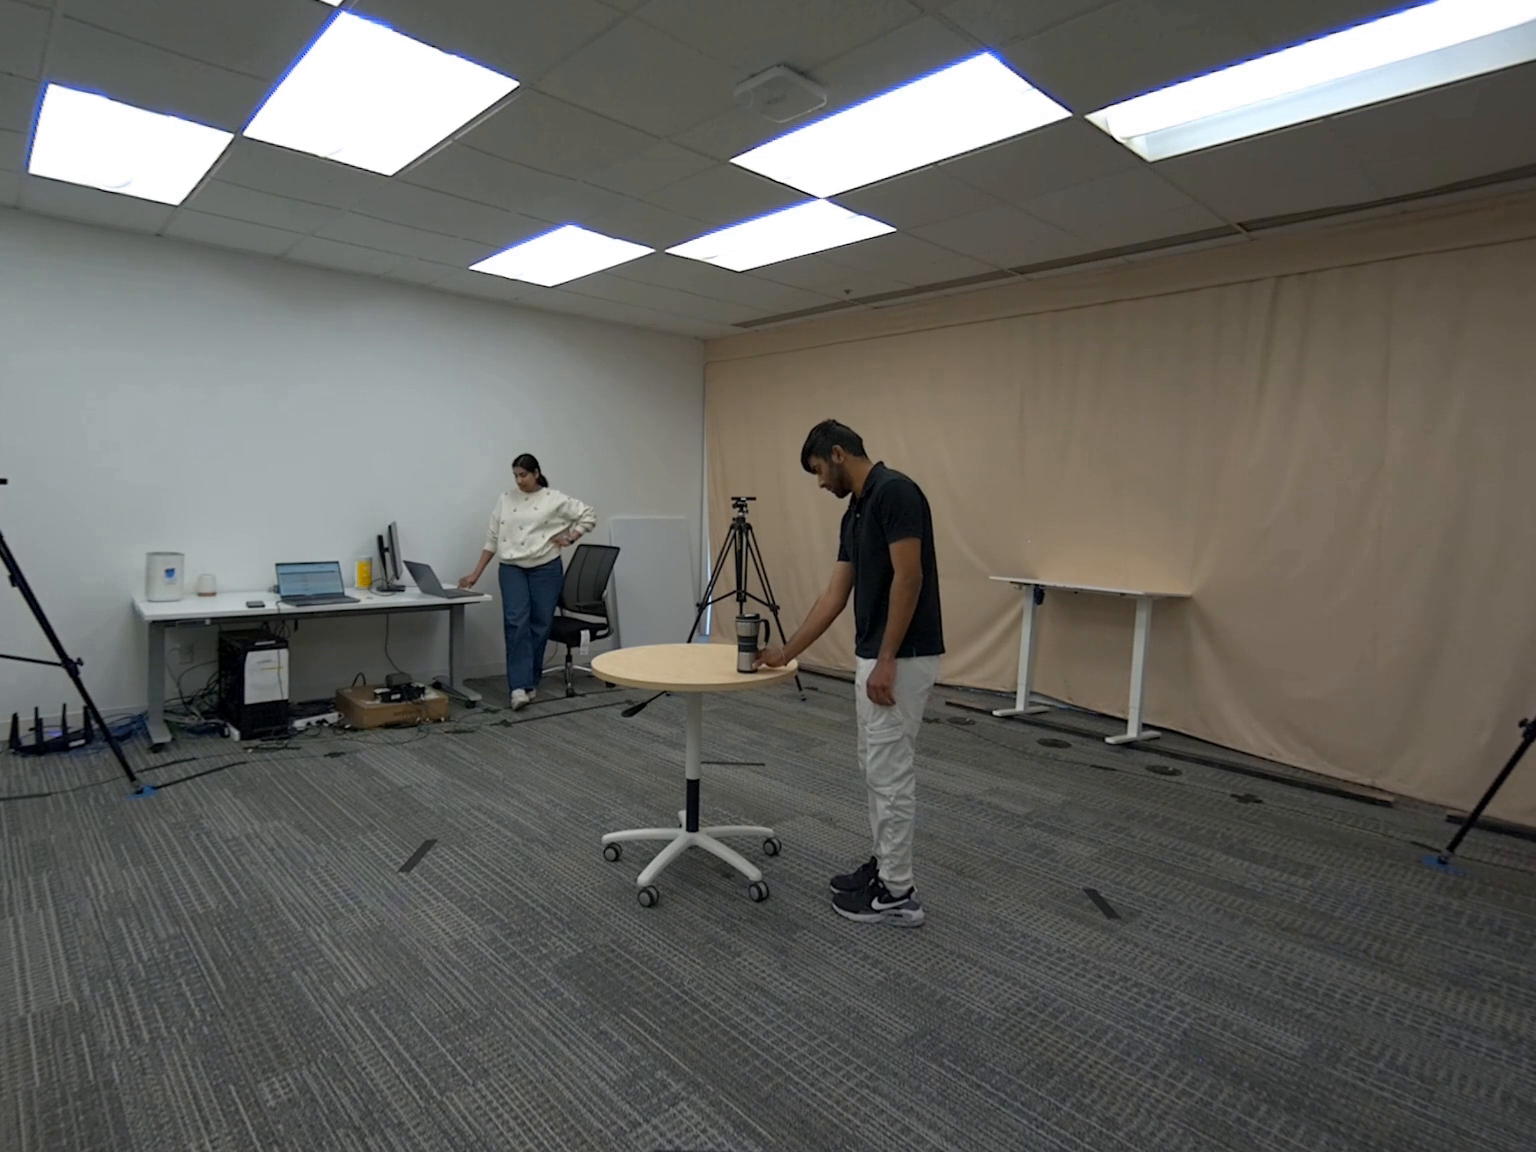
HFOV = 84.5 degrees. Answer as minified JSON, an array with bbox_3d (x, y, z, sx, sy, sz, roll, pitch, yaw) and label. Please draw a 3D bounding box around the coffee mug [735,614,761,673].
[{"bbox_3d":[-0.057,0.236,2.939,0.125,0.203,0.086,3,2,36],"label":"coffee mug"}]
